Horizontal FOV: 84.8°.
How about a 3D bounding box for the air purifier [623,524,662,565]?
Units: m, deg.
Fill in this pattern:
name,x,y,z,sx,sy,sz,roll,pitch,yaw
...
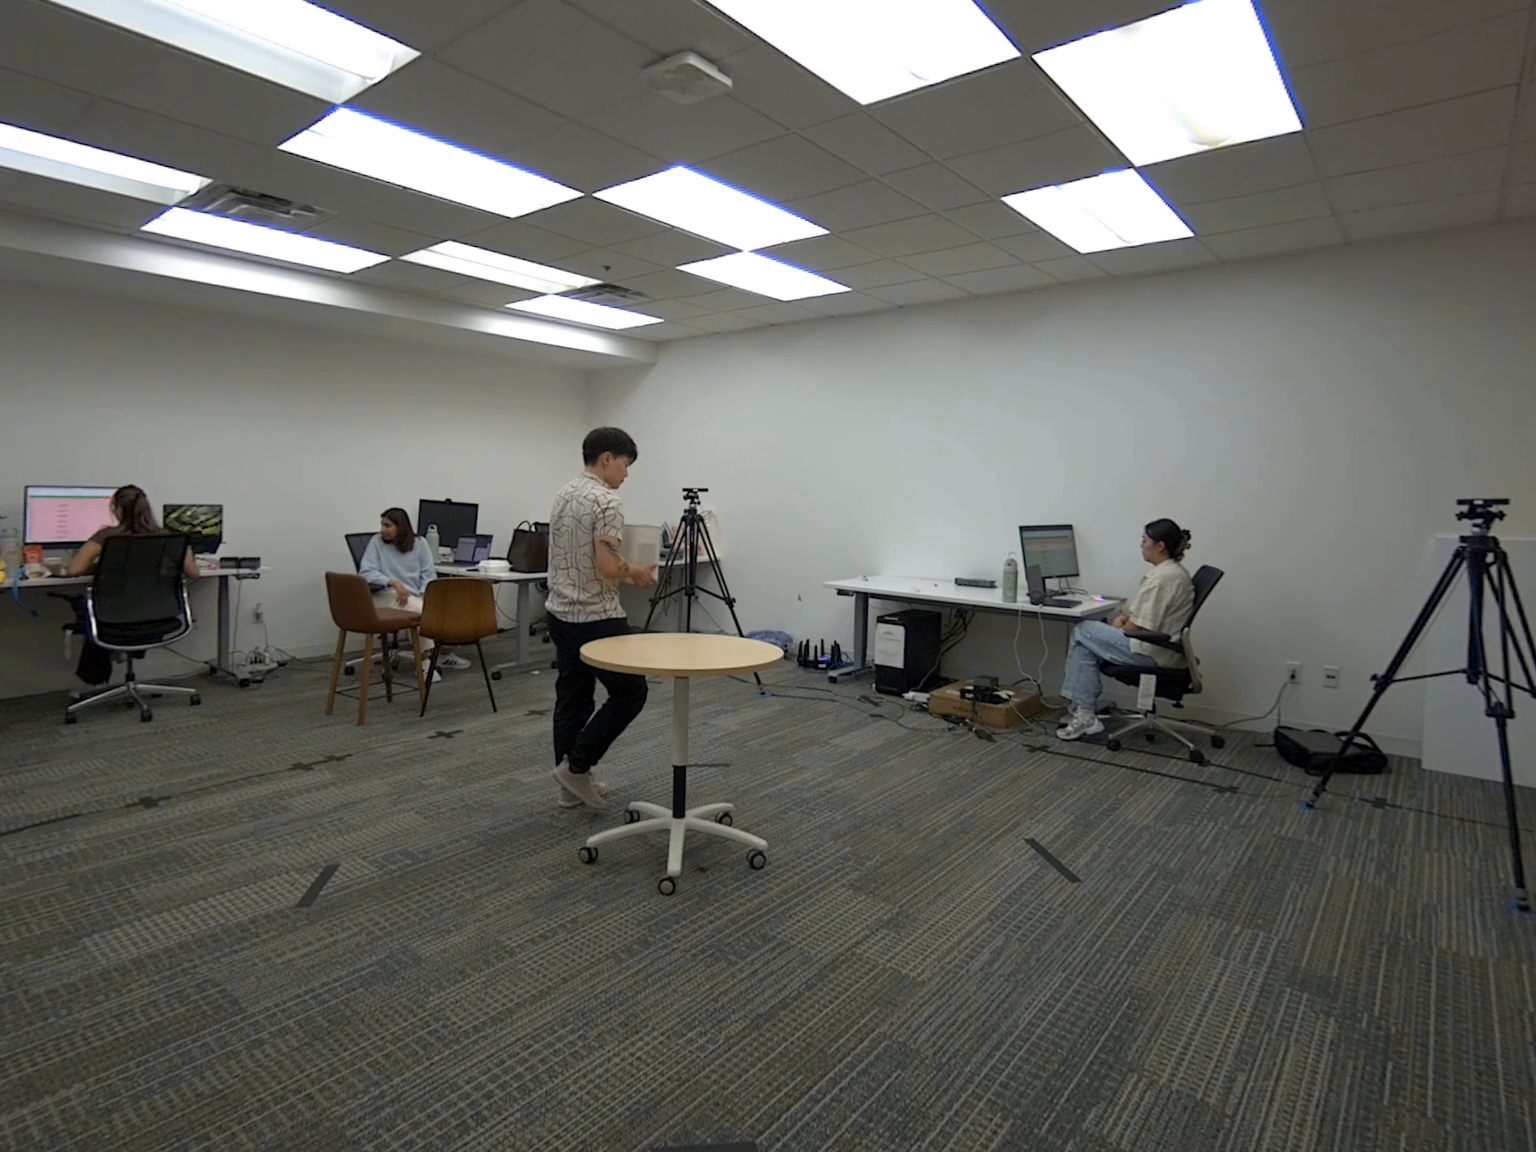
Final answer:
name,x,y,z,sx,sy,sz,roll,pitch,yaw
air purifier,-0.602,-0.102,3.850,0.166,0.265,0.177,0,3,-36
